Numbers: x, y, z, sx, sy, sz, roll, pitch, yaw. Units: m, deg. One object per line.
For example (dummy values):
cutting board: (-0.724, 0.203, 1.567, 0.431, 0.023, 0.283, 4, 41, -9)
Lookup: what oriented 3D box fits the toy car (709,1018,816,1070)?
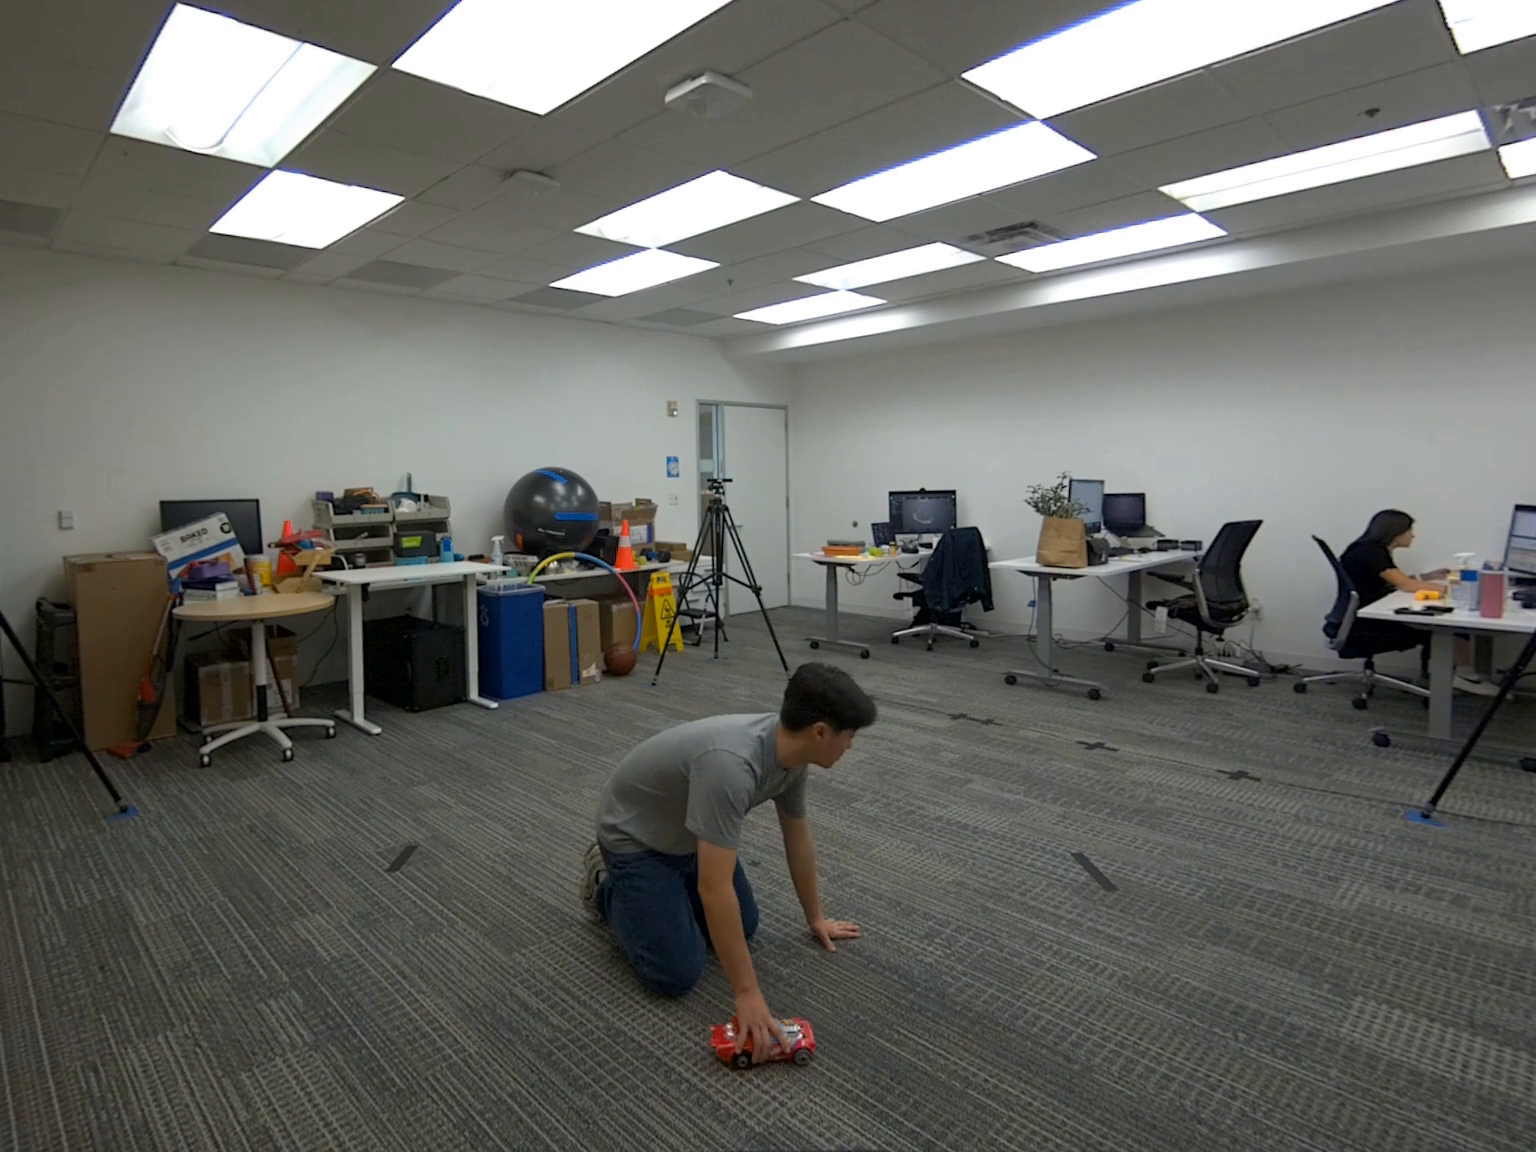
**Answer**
toy car: (-0.012, 1.138, 2.085, 0.253, 0.083, 0.131, 8, 5, -5)
